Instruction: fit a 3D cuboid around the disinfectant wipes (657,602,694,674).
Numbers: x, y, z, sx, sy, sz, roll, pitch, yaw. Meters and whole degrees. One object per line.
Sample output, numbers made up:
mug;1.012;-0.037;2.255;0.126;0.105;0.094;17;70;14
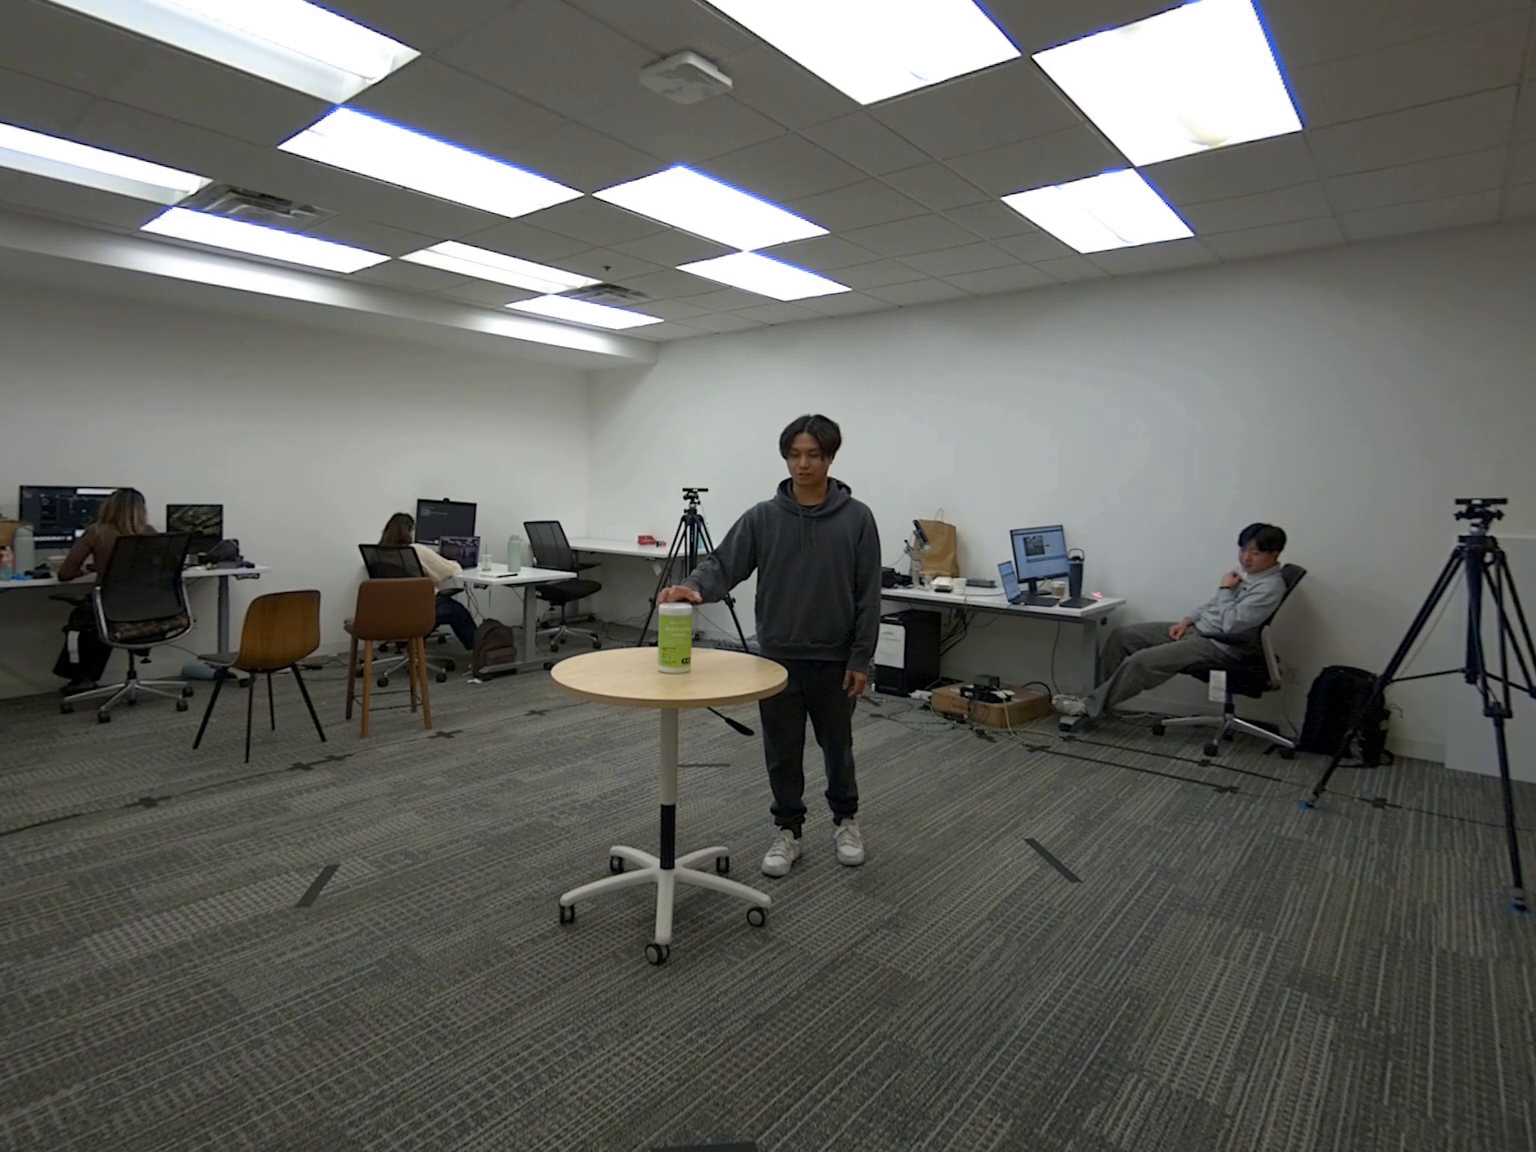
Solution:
disinfectant wipes;-0.314;0.197;2.756;0.117;0.217;0.118;2;3;-2
